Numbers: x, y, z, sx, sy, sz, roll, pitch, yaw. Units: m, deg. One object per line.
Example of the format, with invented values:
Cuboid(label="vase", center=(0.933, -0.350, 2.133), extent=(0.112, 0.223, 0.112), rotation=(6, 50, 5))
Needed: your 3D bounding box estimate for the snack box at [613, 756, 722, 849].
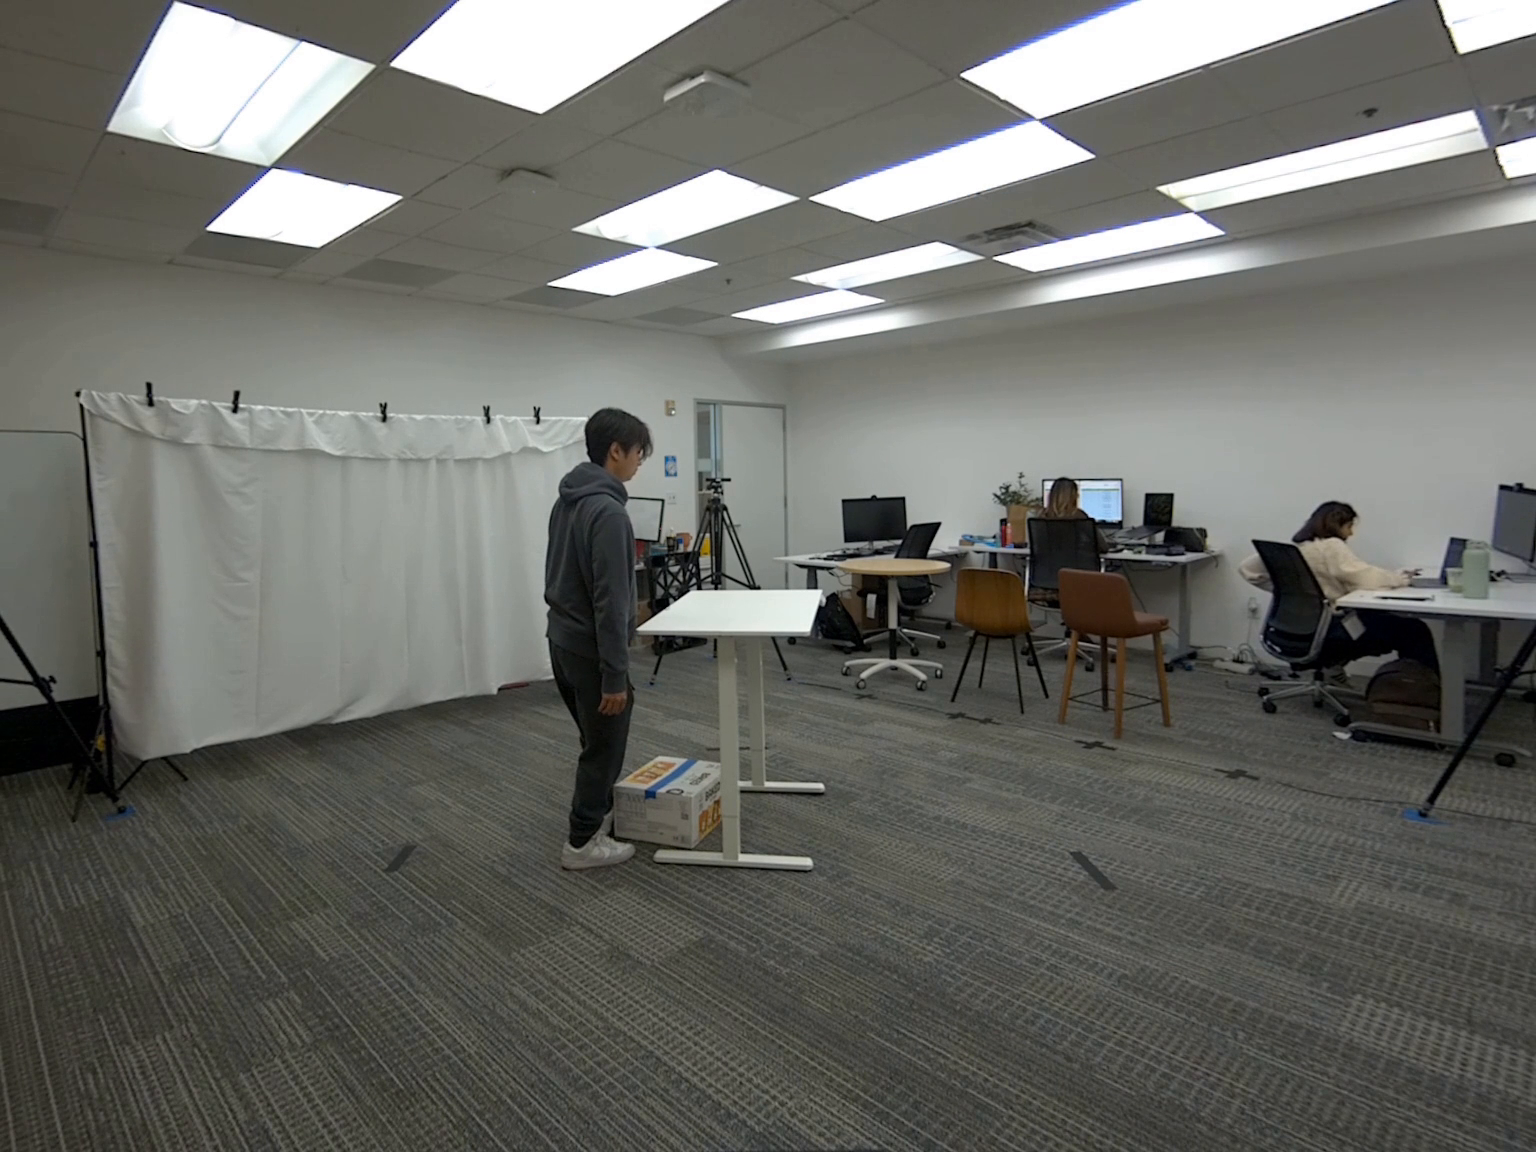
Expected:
Cuboid(label="snack box", center=(-0.376, 0.905, 3.462), extent=(0.347, 0.205, 0.398), rotation=(1, 6, 21))
